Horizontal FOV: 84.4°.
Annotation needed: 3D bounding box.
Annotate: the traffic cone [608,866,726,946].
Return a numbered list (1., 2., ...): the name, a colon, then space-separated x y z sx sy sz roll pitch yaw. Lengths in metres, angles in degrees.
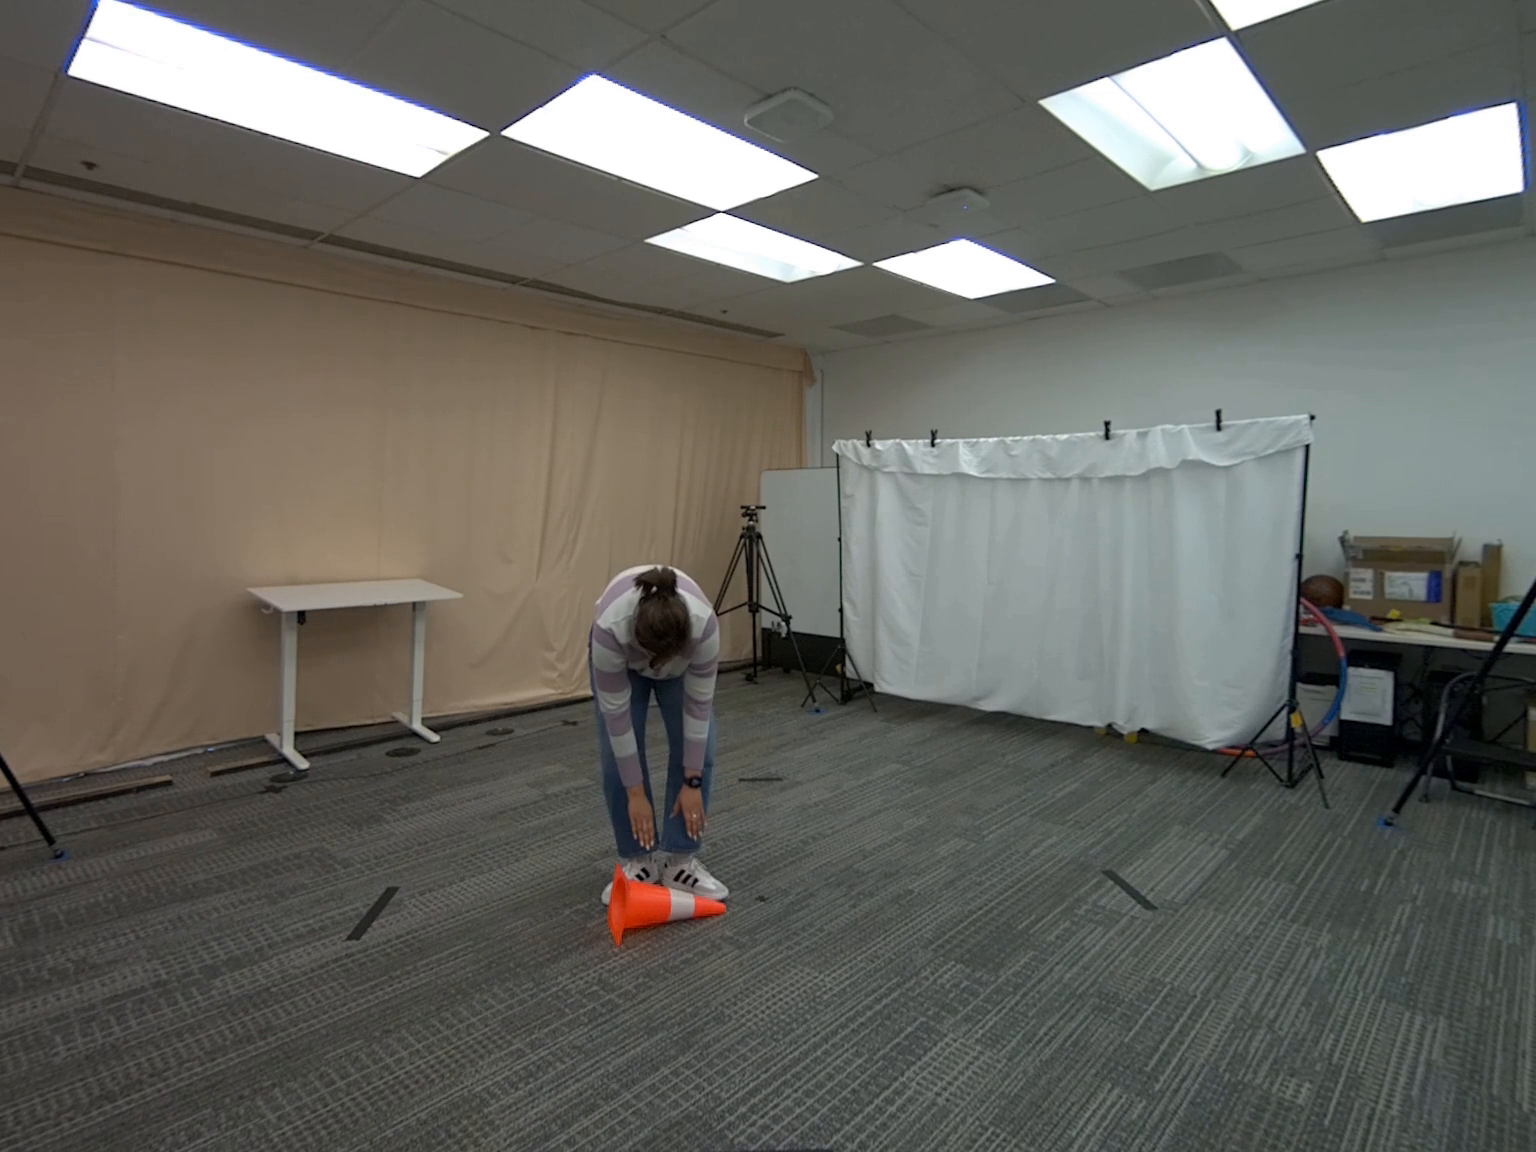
1. traffic cone: -0.319 1.104 2.816 0.375 0.205 0.208 12 -1 -20
